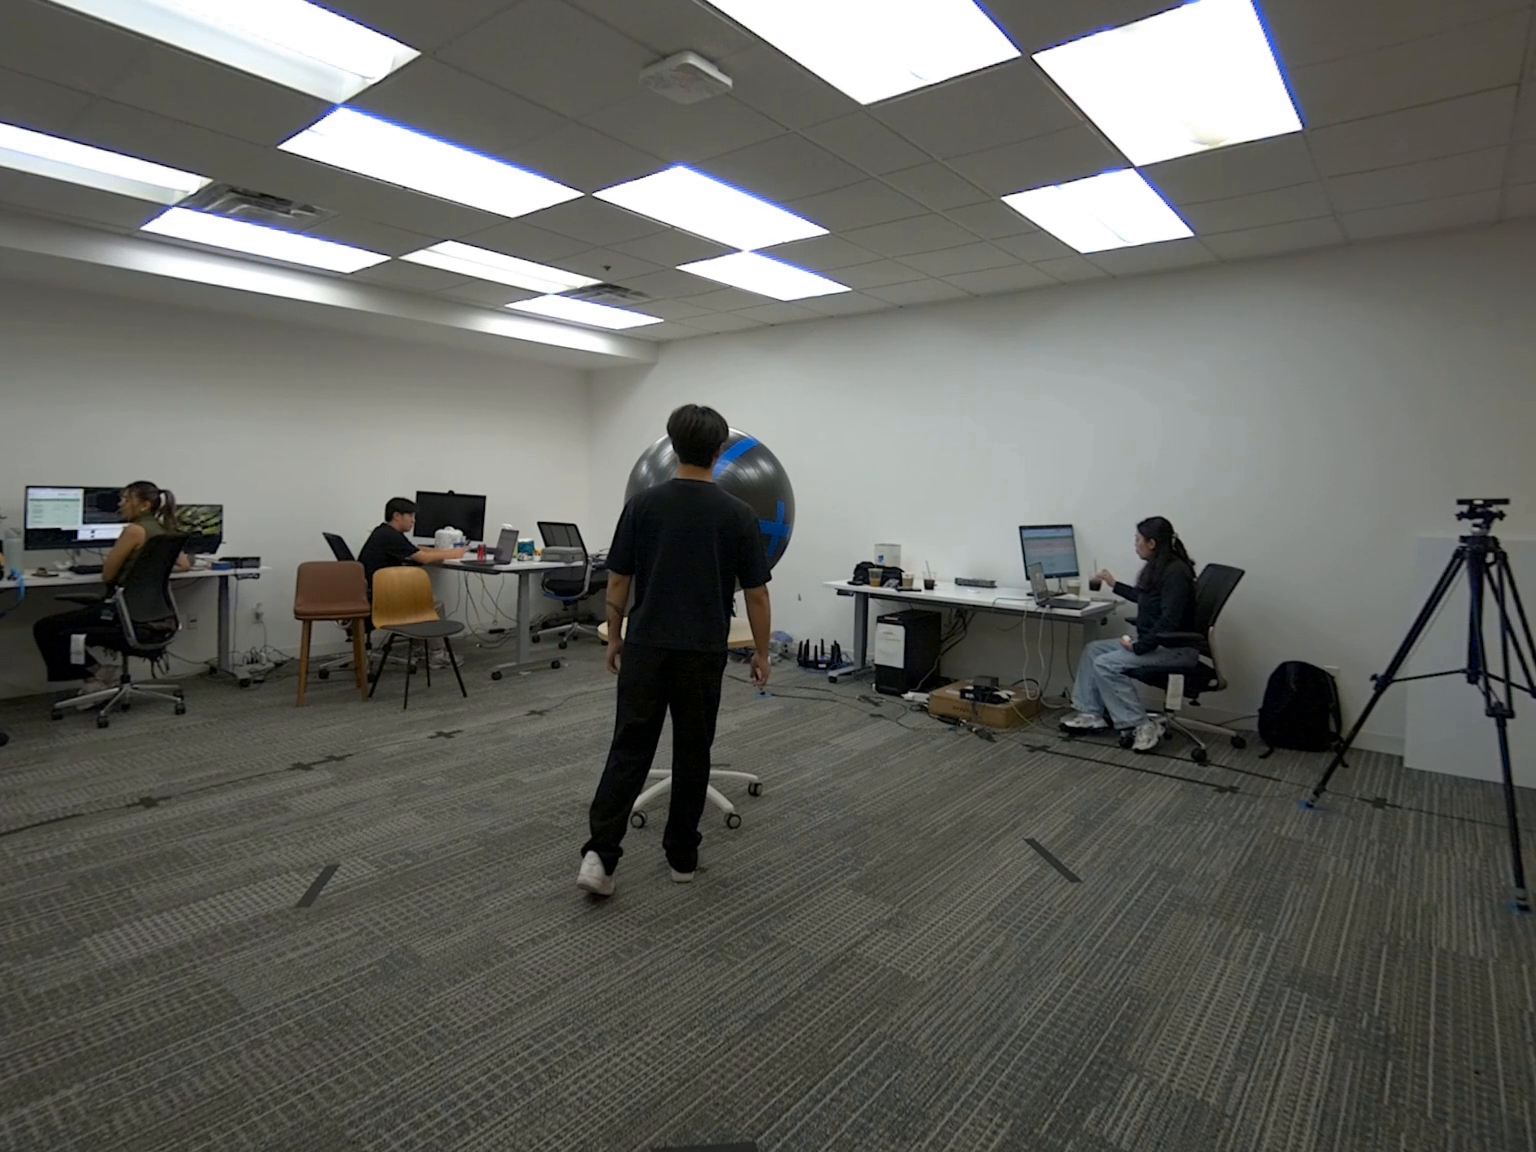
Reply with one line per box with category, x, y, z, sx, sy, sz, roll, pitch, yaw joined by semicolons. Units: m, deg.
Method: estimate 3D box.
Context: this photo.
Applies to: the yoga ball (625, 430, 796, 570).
yoga ball;-0.271;-0.292;3.768;0.757;0.755;0.762;1;4;-2
